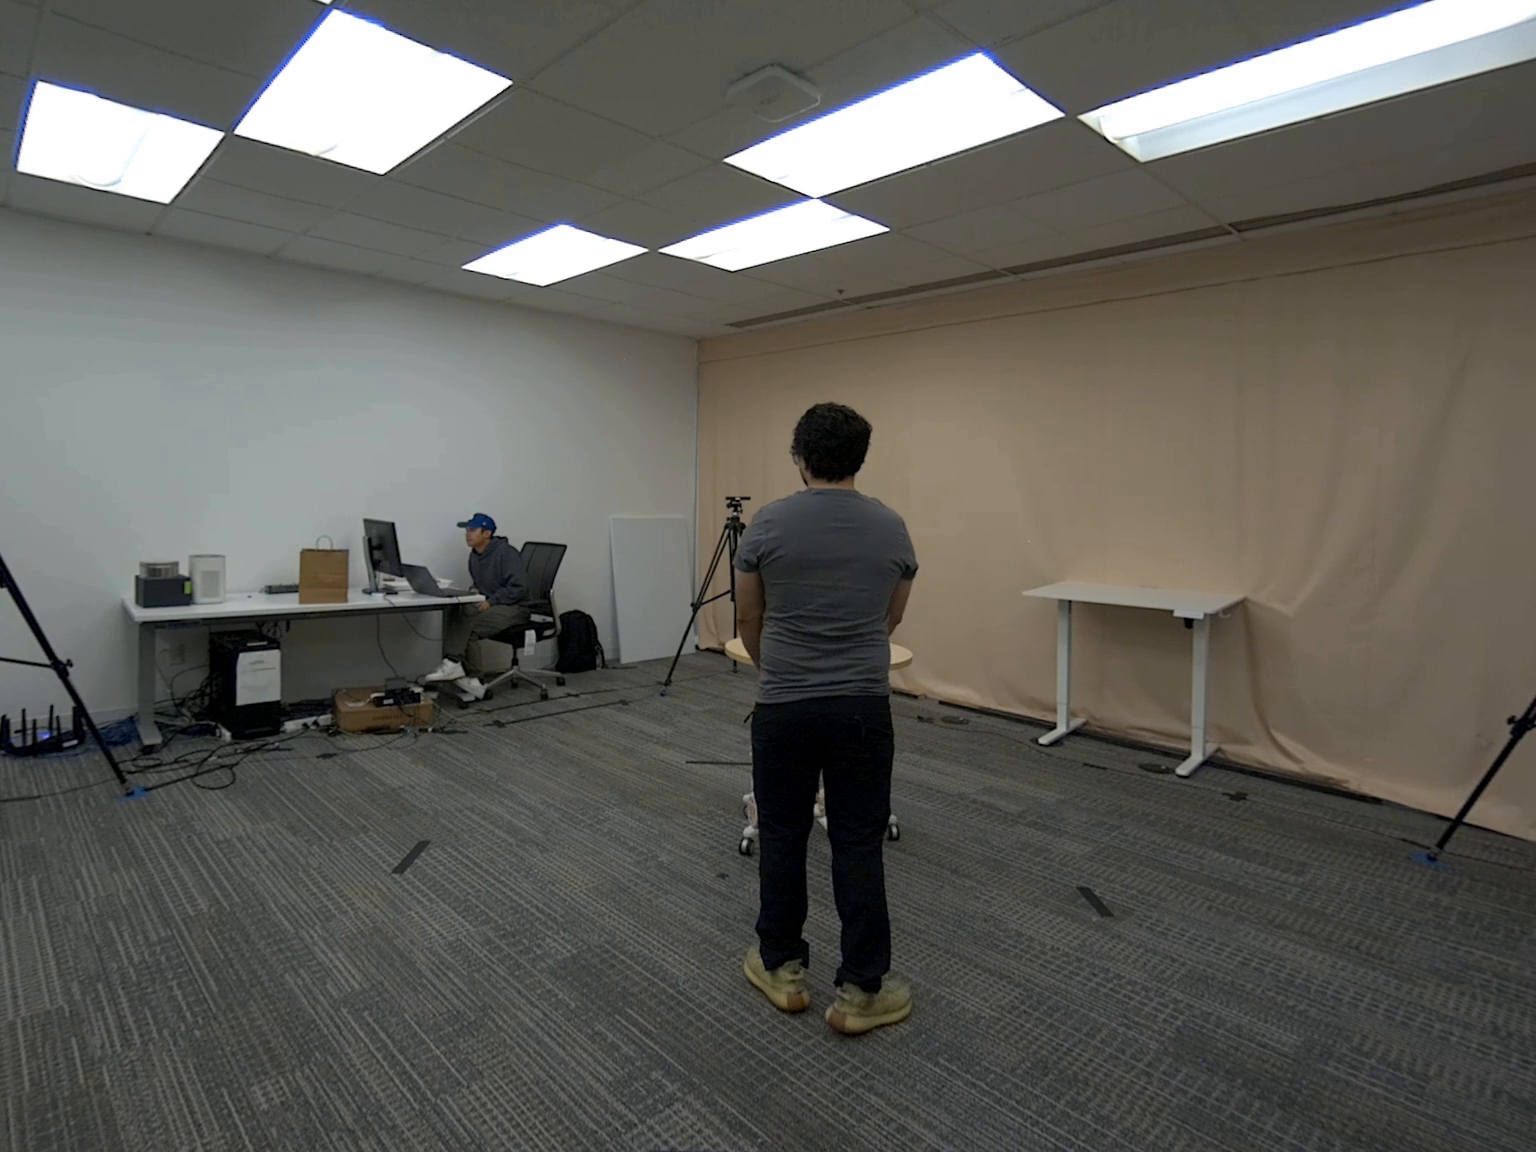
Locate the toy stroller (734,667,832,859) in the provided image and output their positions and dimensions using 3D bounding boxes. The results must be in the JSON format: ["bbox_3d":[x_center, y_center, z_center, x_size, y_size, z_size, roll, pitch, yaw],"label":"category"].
[{"bbox_3d":[0.062,0.576,2.706,0.279,0.536,0.343,2,-4,-9],"label":"toy stroller"}]
